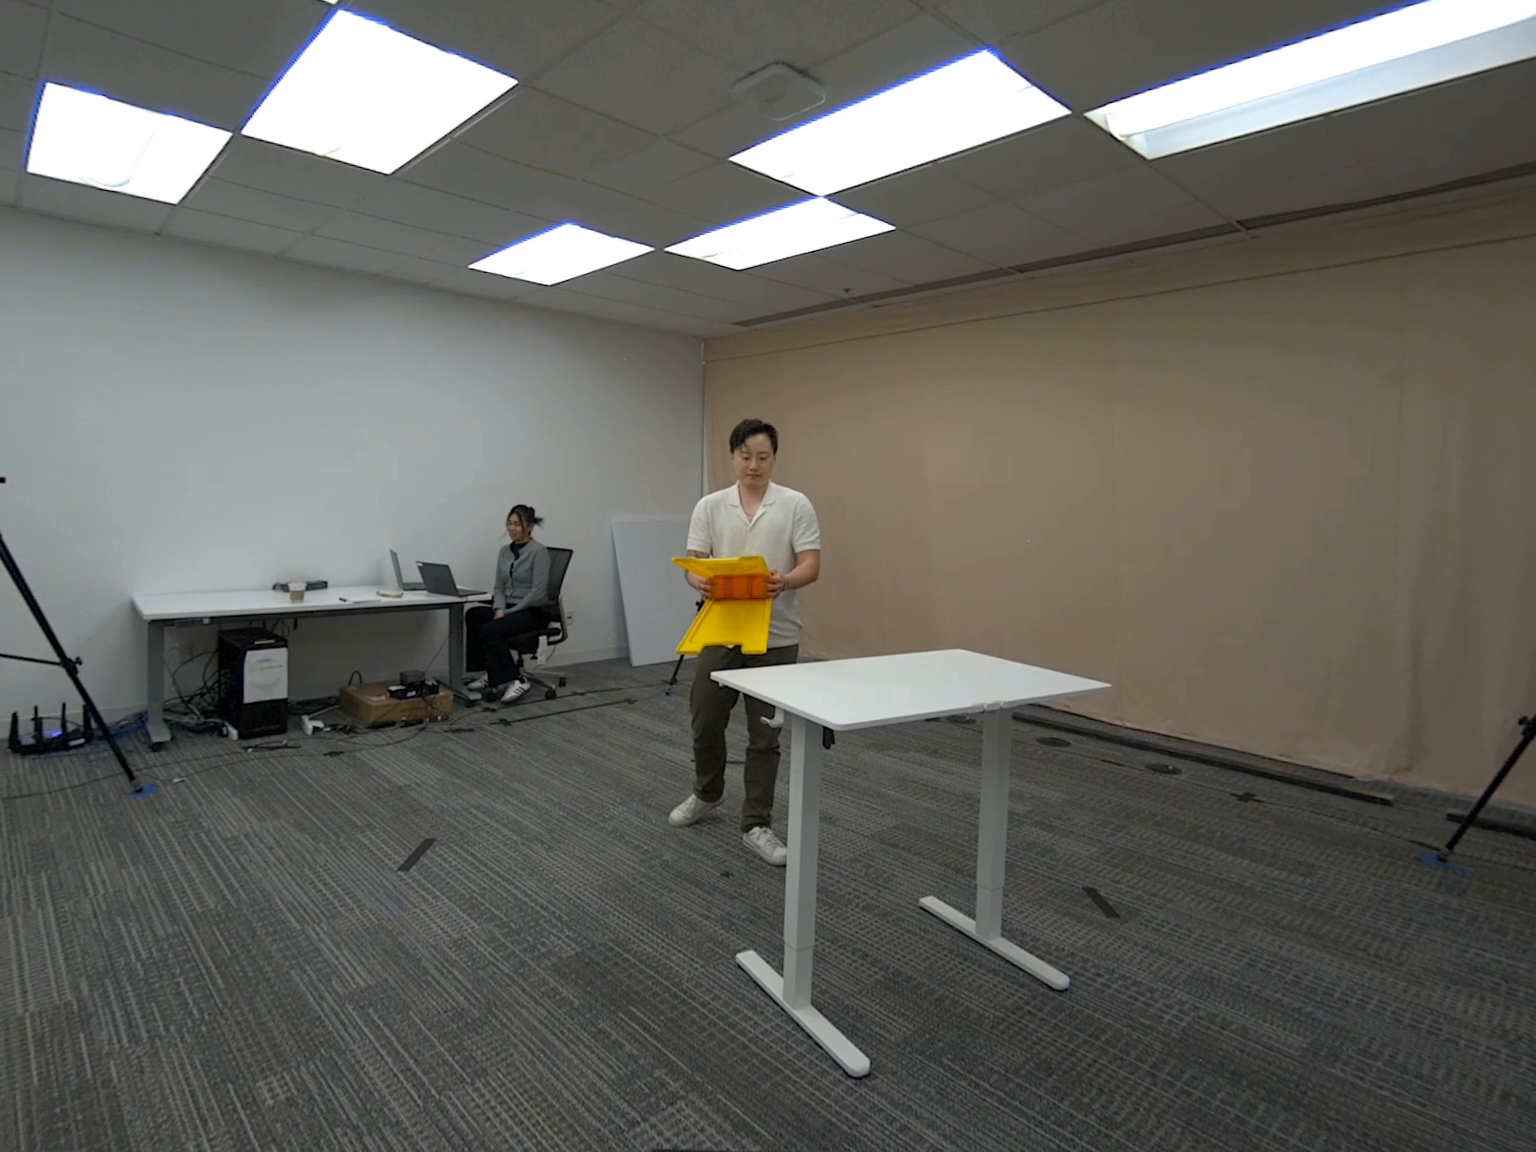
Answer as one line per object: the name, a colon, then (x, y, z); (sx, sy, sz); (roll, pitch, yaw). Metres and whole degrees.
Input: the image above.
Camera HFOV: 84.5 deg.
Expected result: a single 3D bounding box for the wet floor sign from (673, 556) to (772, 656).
wet floor sign: (-0.126, 0.063, 2.857); (0.285, 0.289, 0.642); (-2, 5, 10)
